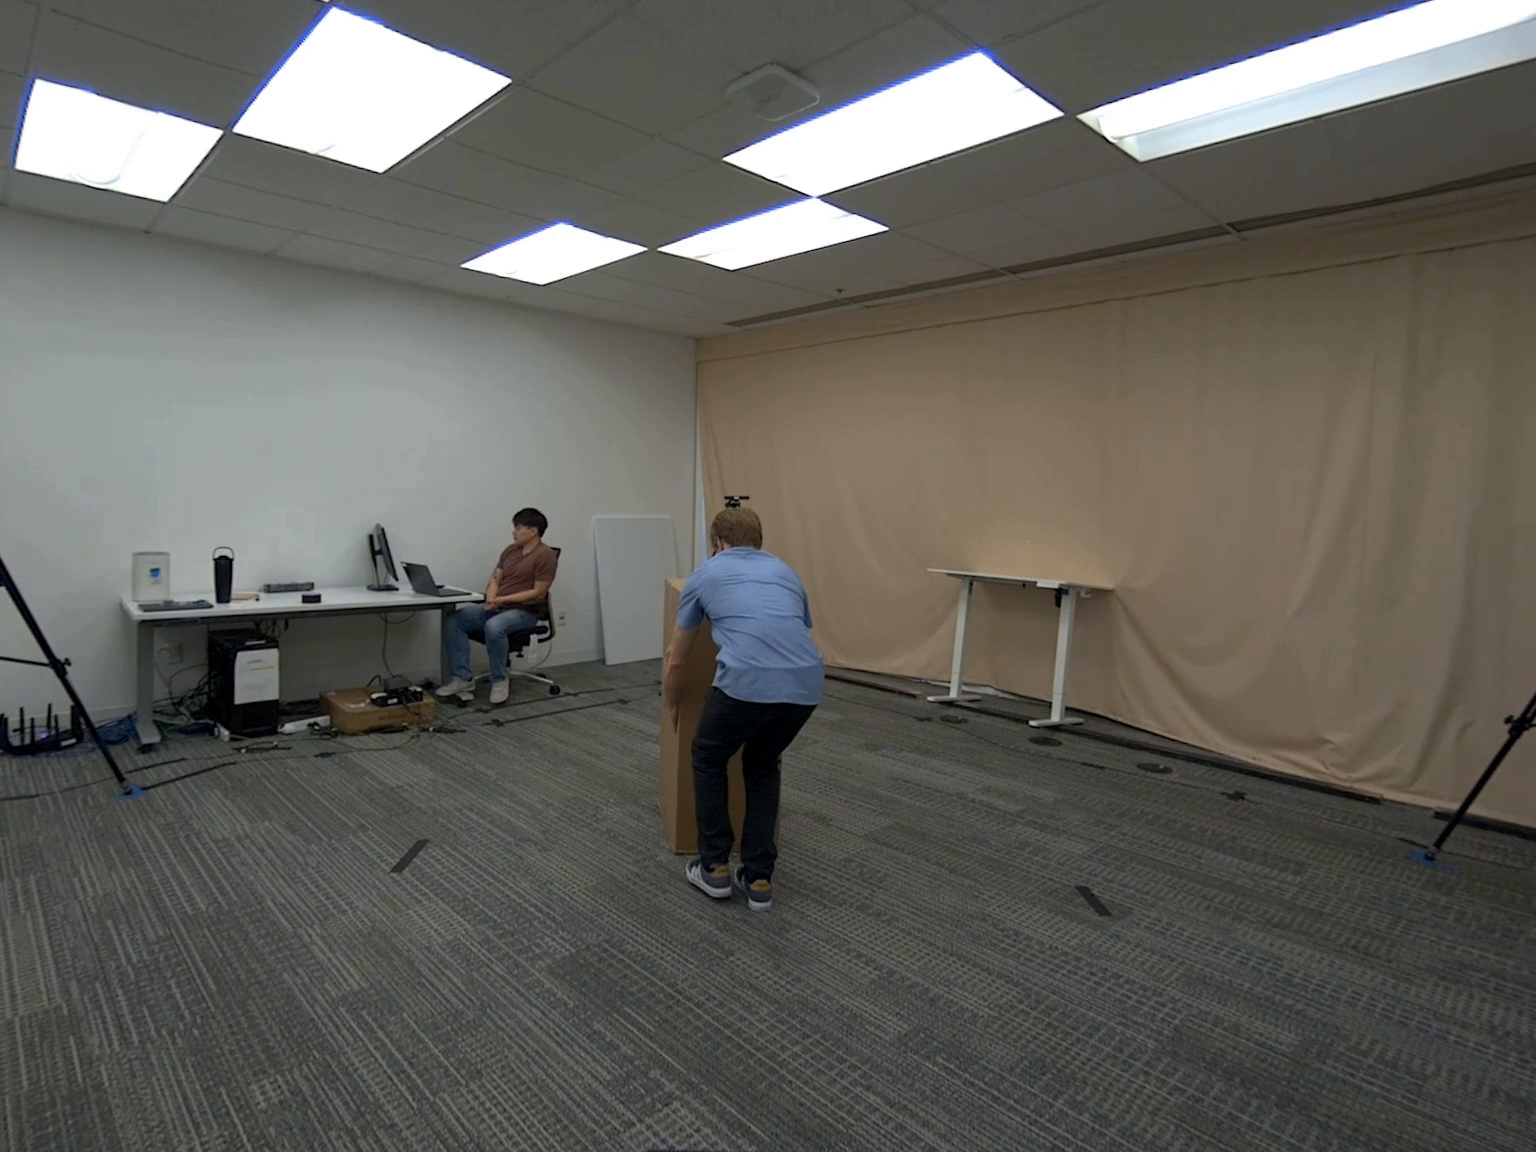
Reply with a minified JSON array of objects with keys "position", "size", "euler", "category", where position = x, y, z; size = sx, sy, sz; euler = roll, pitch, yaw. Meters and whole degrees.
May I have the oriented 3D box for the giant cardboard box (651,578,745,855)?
[{"position":[-0.212,0.555,3.563],"size":[0.422,1.024,0.584],"euler":[1,3,-13],"category":"giant cardboard box"}]
